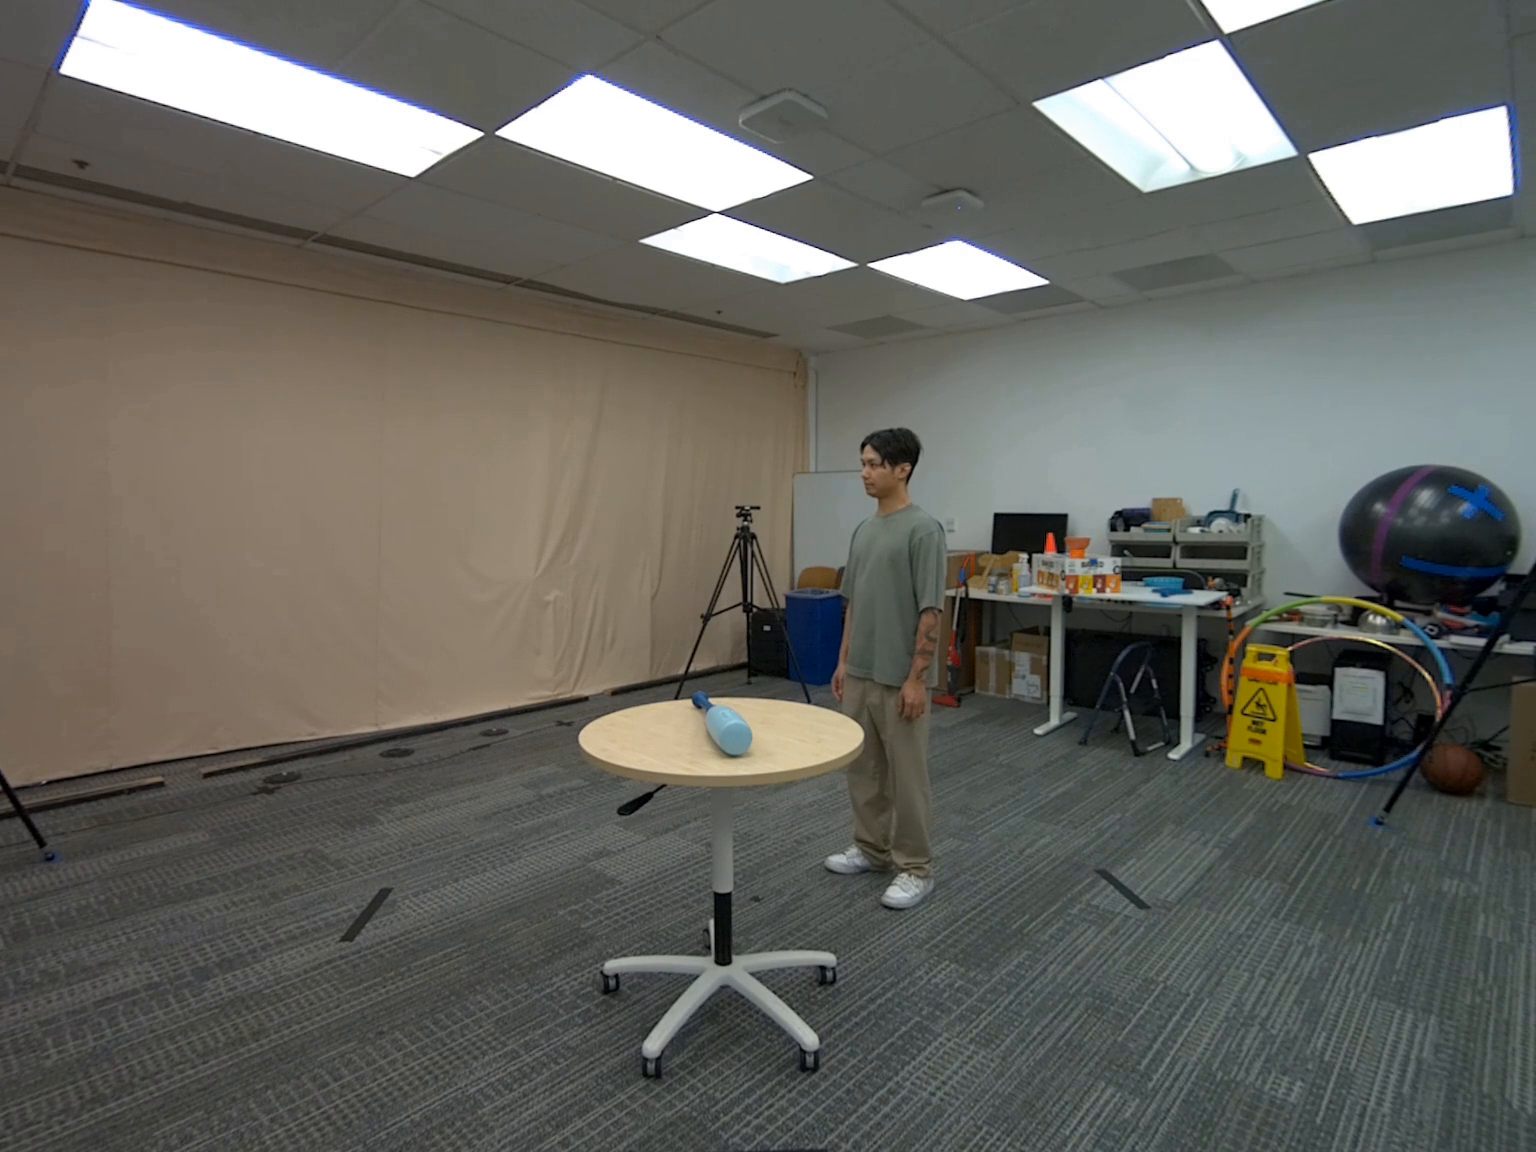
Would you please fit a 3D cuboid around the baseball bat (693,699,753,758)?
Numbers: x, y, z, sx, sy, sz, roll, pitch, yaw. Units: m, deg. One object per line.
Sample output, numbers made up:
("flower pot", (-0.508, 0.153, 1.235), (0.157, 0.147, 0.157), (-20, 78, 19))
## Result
("baseball bat", (-0.140, 0.384, 2.278), (0.087, 0.089, 0.552), (-1, 2, -16))
